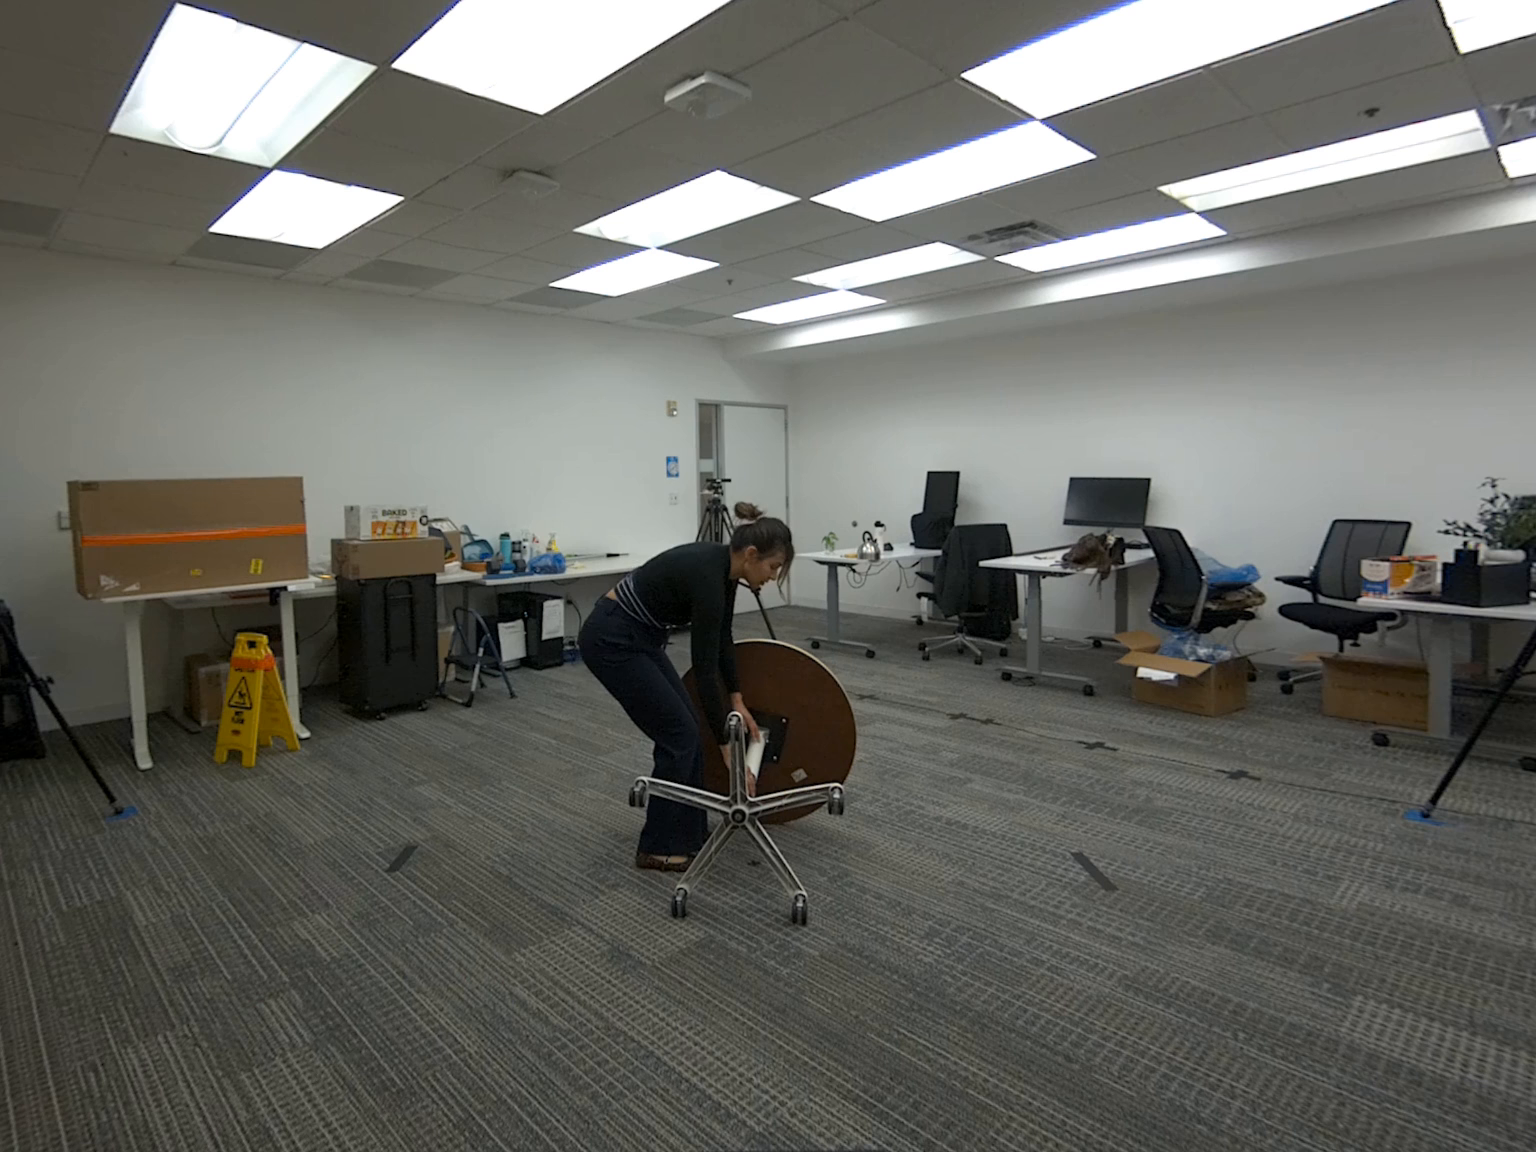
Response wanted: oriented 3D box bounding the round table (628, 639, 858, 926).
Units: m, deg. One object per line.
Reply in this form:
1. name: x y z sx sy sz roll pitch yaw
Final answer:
1. round table: -0.064 0.712 3.033 0.769 0.757 0.796 0 10 6
